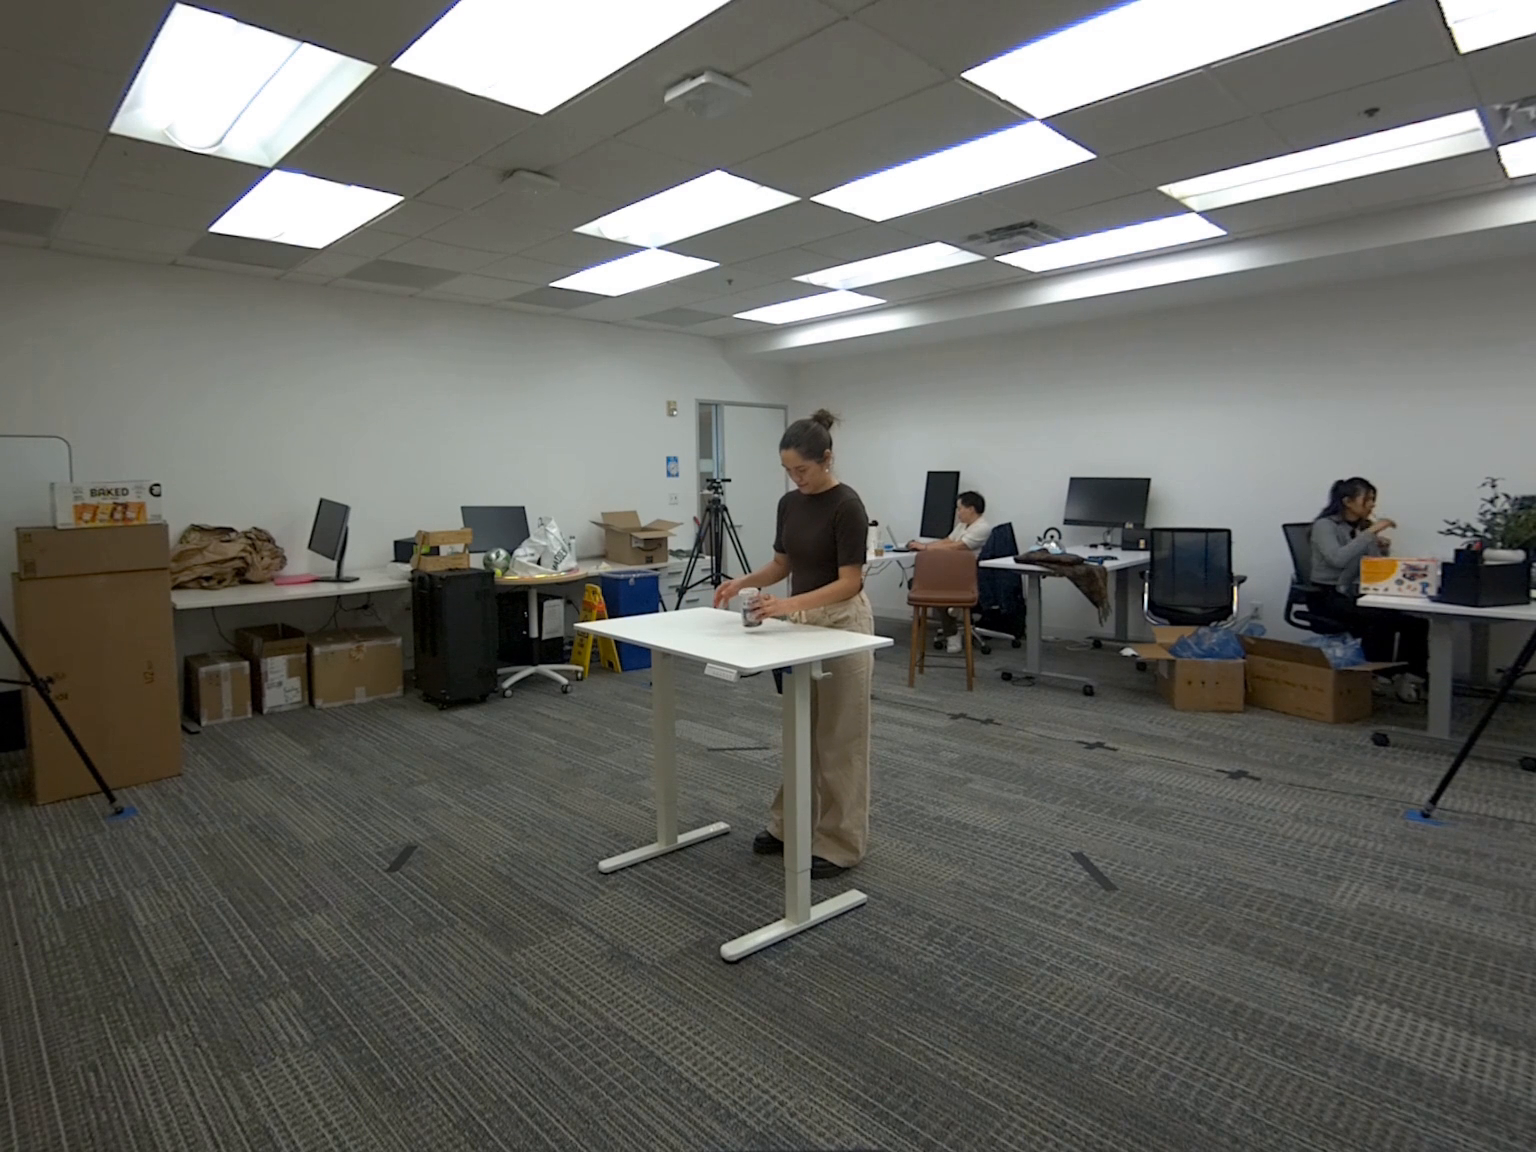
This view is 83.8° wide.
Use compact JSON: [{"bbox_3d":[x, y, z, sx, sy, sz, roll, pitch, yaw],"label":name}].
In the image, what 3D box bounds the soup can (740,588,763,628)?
[{"bbox_3d":[-0.055,0.106,2.823,0.067,0.120,0.068,-3,13,-1],"label":"soup can"}]
